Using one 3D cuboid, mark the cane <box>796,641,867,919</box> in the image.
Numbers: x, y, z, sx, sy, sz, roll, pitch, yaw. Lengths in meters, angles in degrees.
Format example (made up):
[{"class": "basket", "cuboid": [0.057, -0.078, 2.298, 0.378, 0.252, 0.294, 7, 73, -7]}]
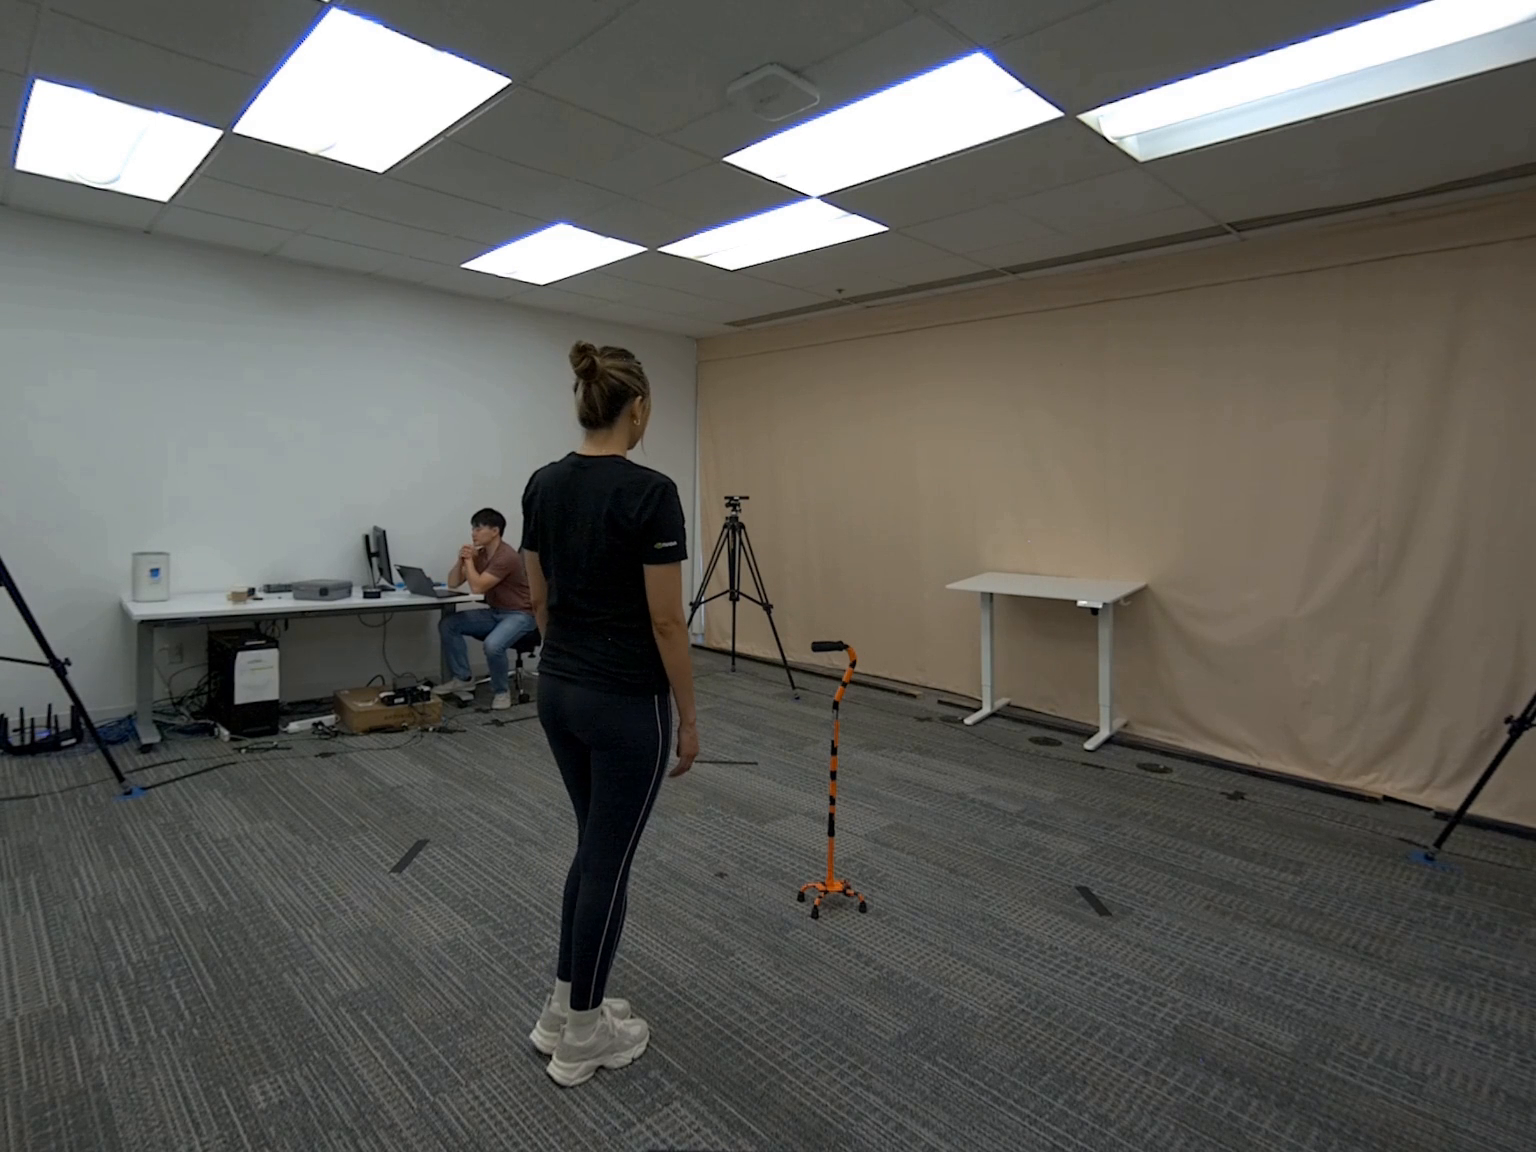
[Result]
[{"class": "cane", "cuboid": [0.226, 0.682, 2.861, 0.204, 0.906, 0.154, 1, 2, -16]}]
